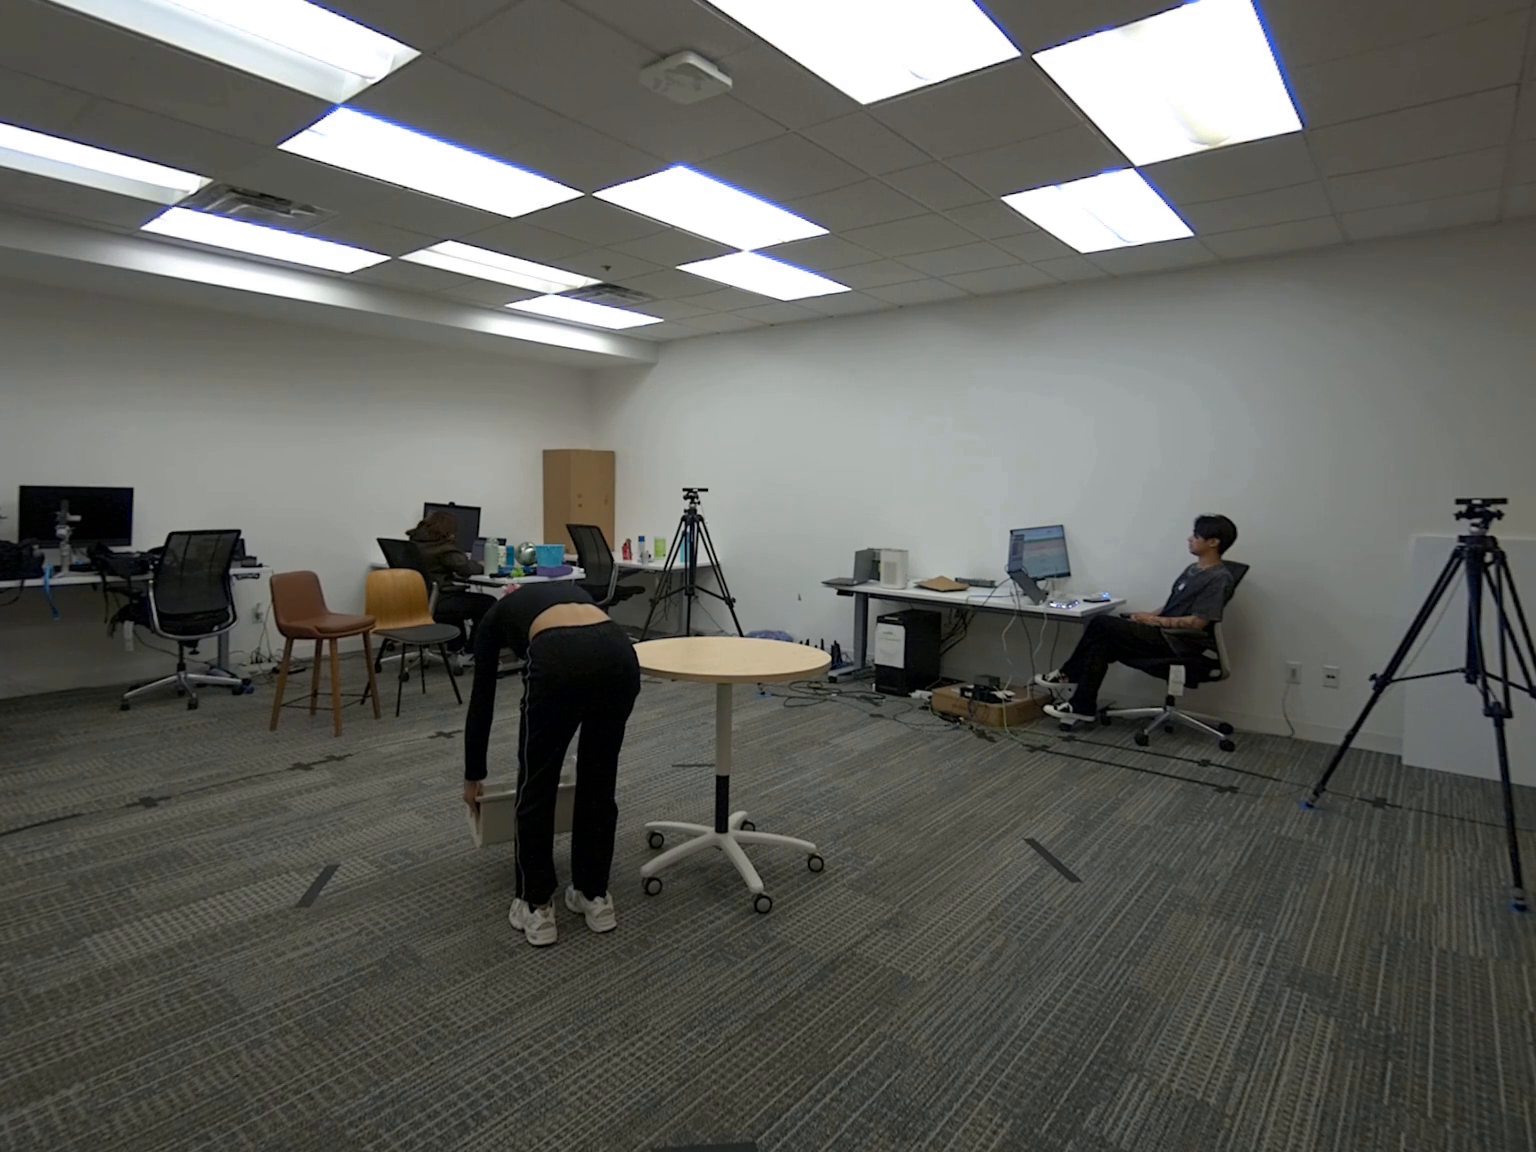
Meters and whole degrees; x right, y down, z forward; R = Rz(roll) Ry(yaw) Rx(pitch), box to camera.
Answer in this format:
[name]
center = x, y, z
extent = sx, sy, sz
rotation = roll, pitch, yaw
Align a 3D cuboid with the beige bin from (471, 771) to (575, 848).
[beige bin]
center = -0.874, 0.790, 3.064
extent = 0.412, 0.188, 0.388
rotation = -2, 8, -25
